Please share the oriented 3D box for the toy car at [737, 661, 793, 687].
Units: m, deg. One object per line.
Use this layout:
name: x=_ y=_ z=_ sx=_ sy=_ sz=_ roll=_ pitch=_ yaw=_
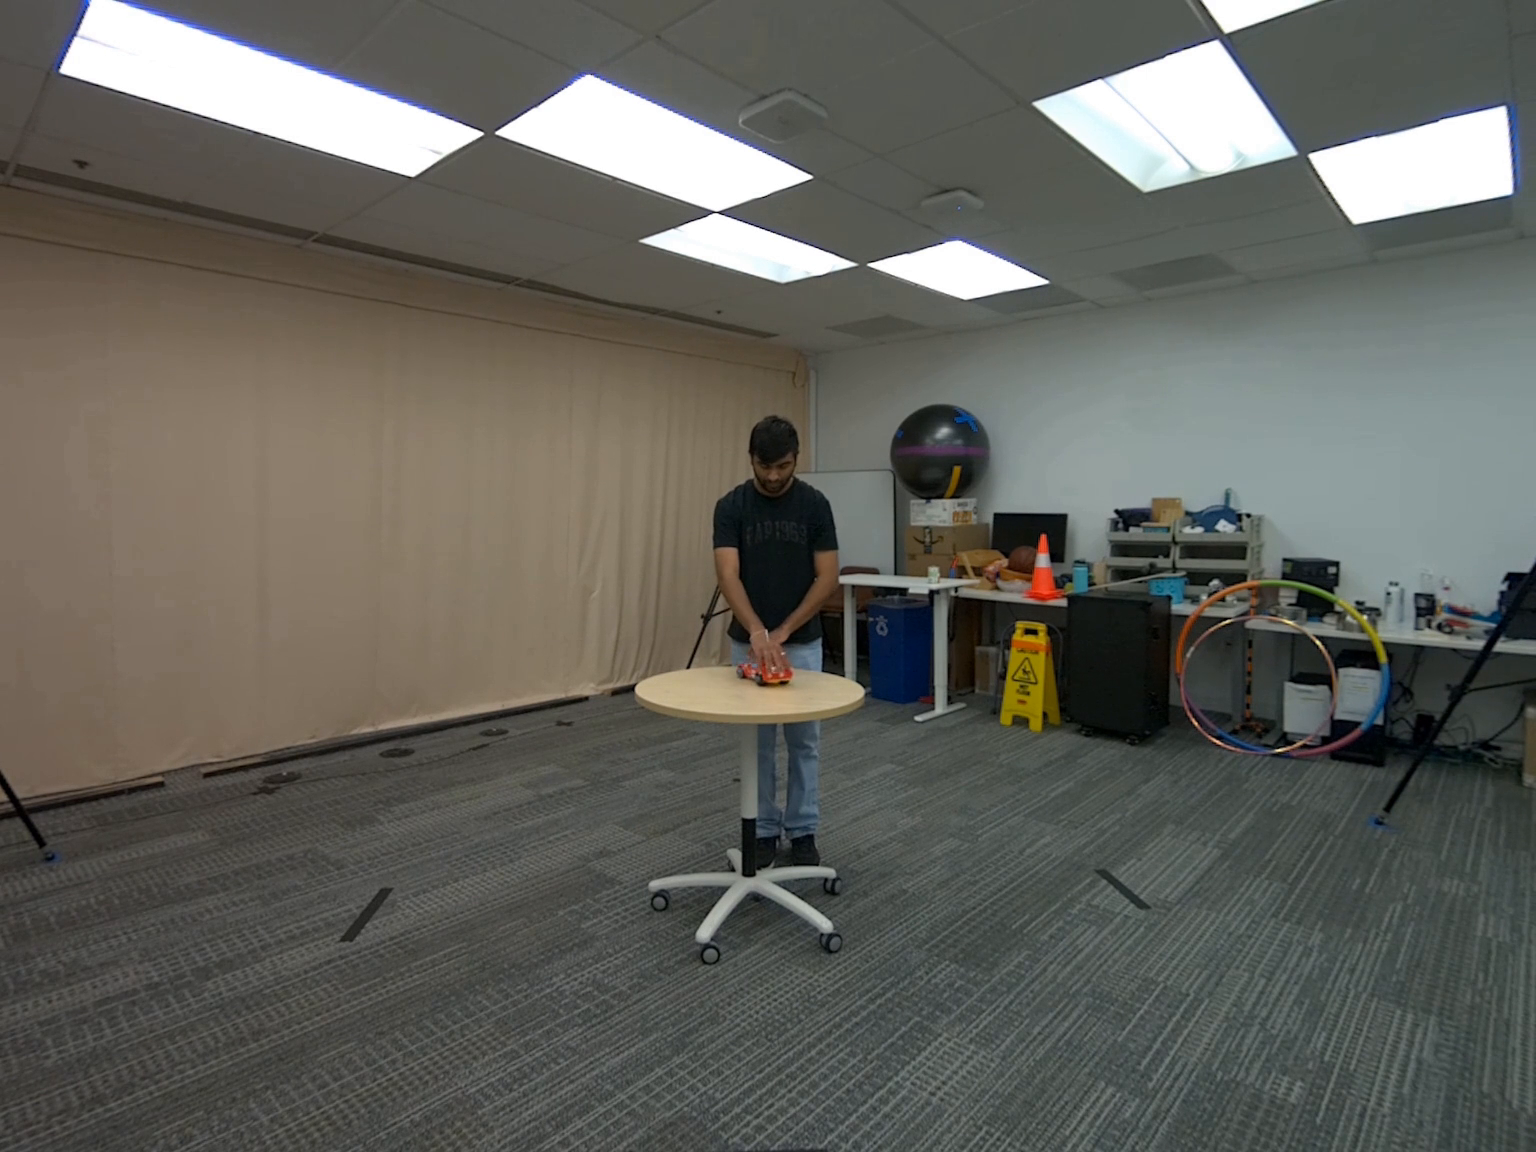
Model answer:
toy car: x=-0.010 y=0.334 z=2.915 sx=0.127 sy=0.083 sz=0.260 roll=-2 pitch=-6 yaw=-27
